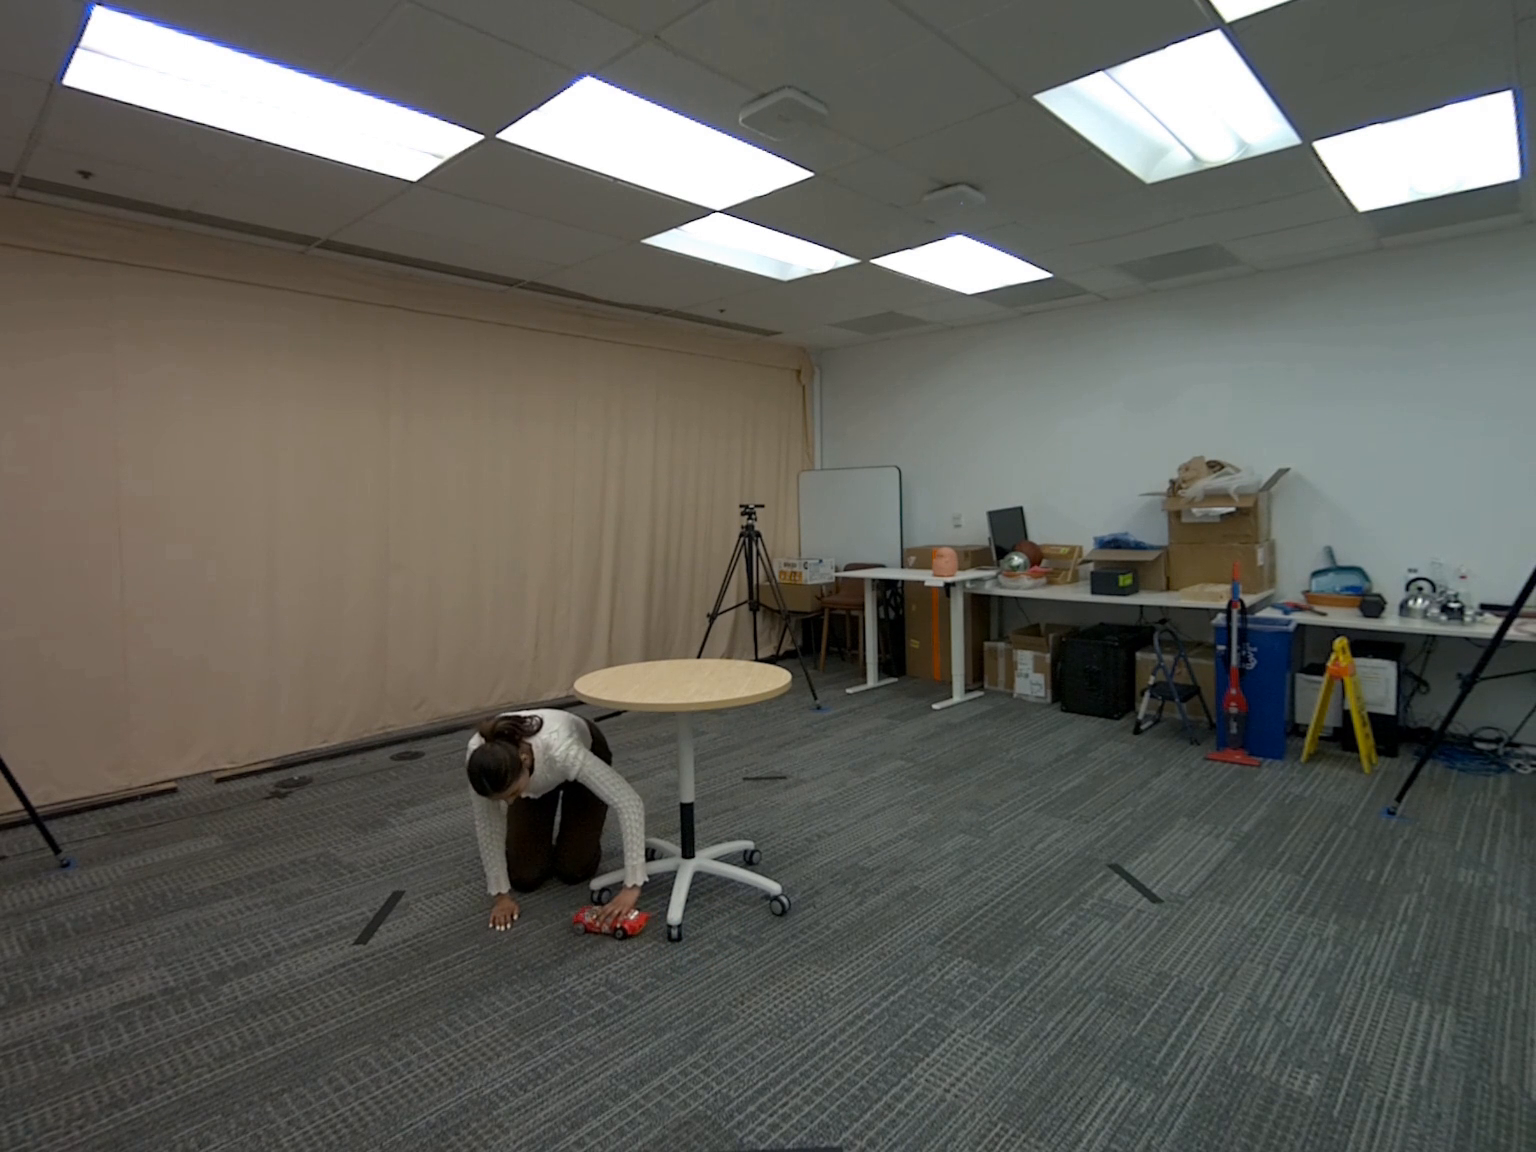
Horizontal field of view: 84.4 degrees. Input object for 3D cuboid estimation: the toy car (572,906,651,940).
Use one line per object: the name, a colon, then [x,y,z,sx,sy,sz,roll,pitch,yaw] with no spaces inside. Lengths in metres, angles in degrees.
toy car: [-0.515,1.144,2.779,0.258,0.083,0.128,-12,0,14]
